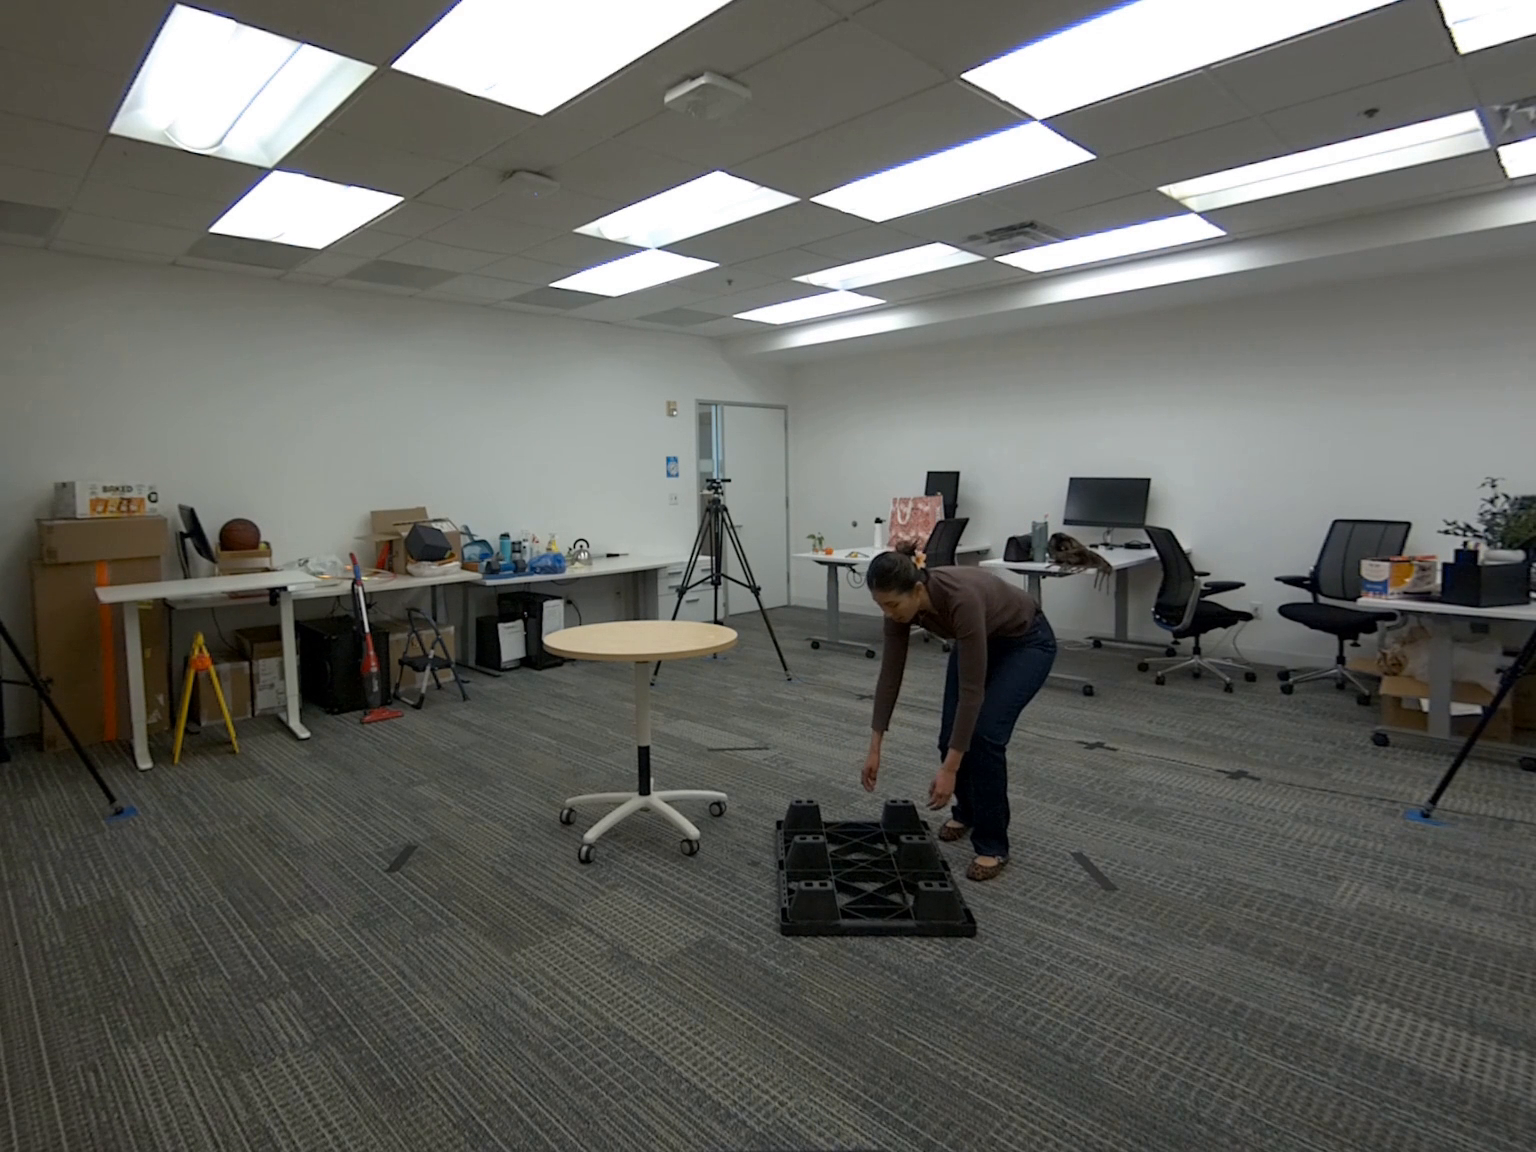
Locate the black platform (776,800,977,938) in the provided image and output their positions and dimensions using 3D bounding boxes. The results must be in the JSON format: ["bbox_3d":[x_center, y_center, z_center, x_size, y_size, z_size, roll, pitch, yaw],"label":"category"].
[{"bbox_3d":[0.337,0.985,2.980,0.606,0.142,0.809,-1,6,0],"label":"black platform"}]
